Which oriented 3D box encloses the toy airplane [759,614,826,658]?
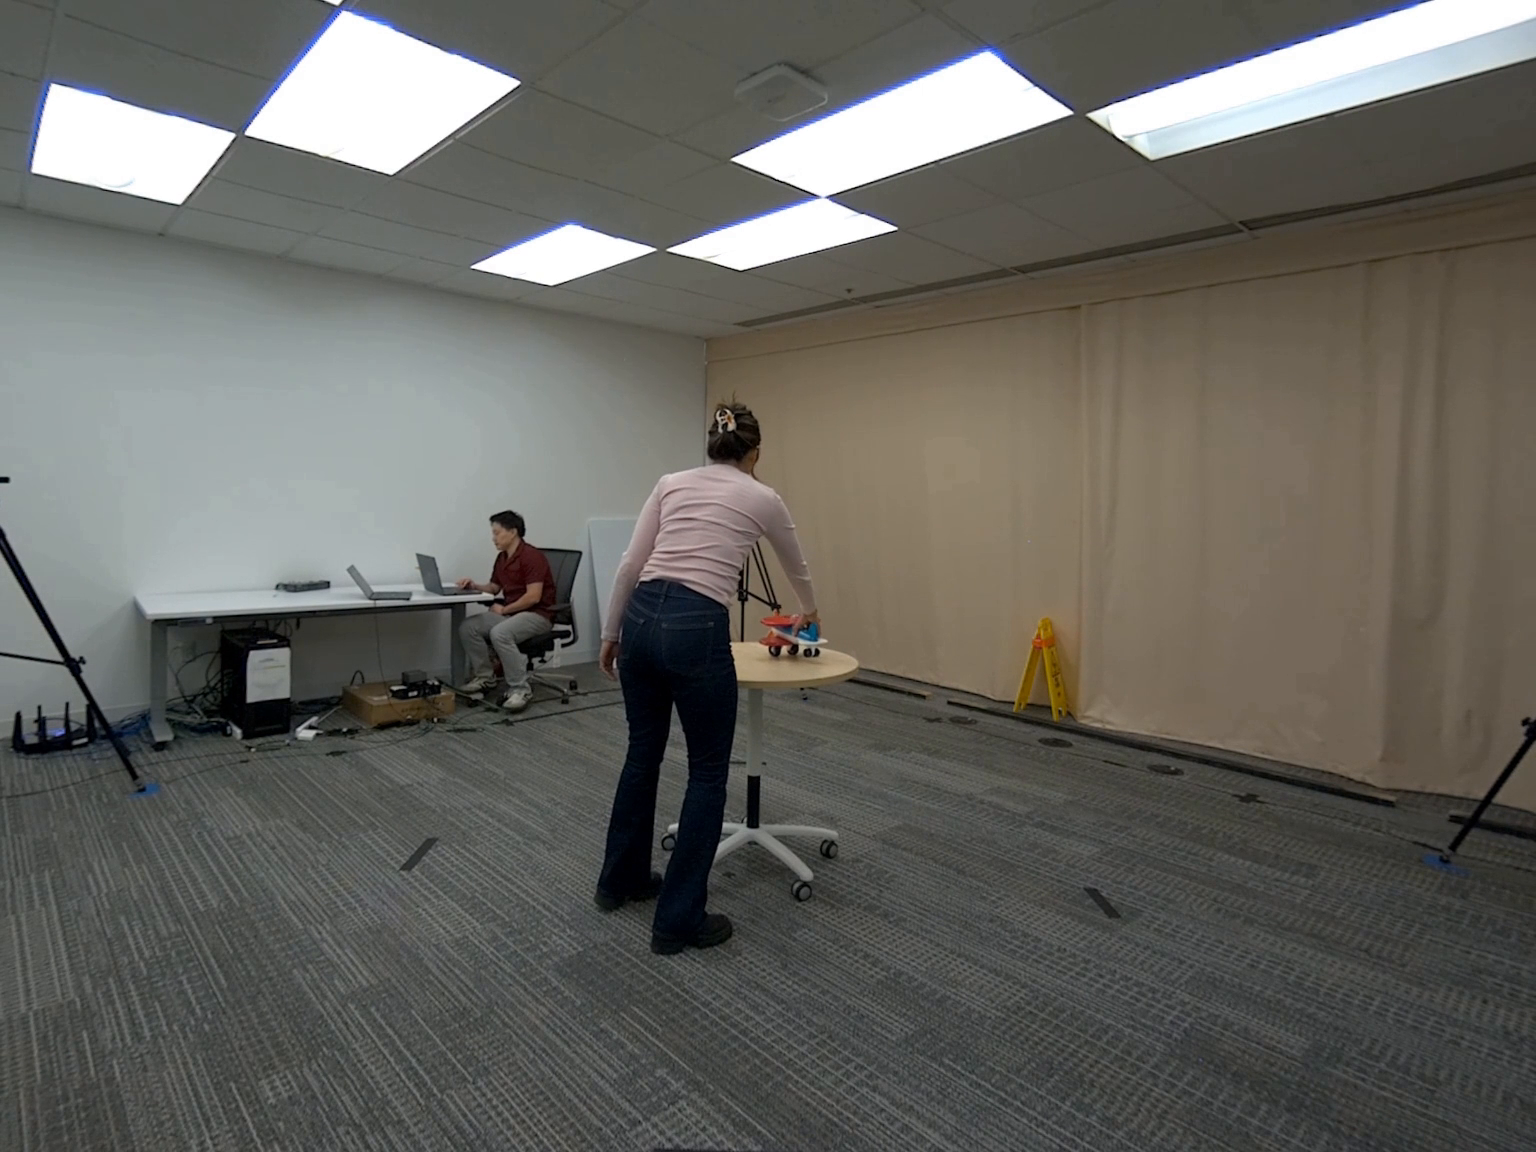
[{"bbox_3d":[0.115,0.228,3.213,0.264,0.157,0.246,-5,-3,30],"label":"toy airplane"}]
